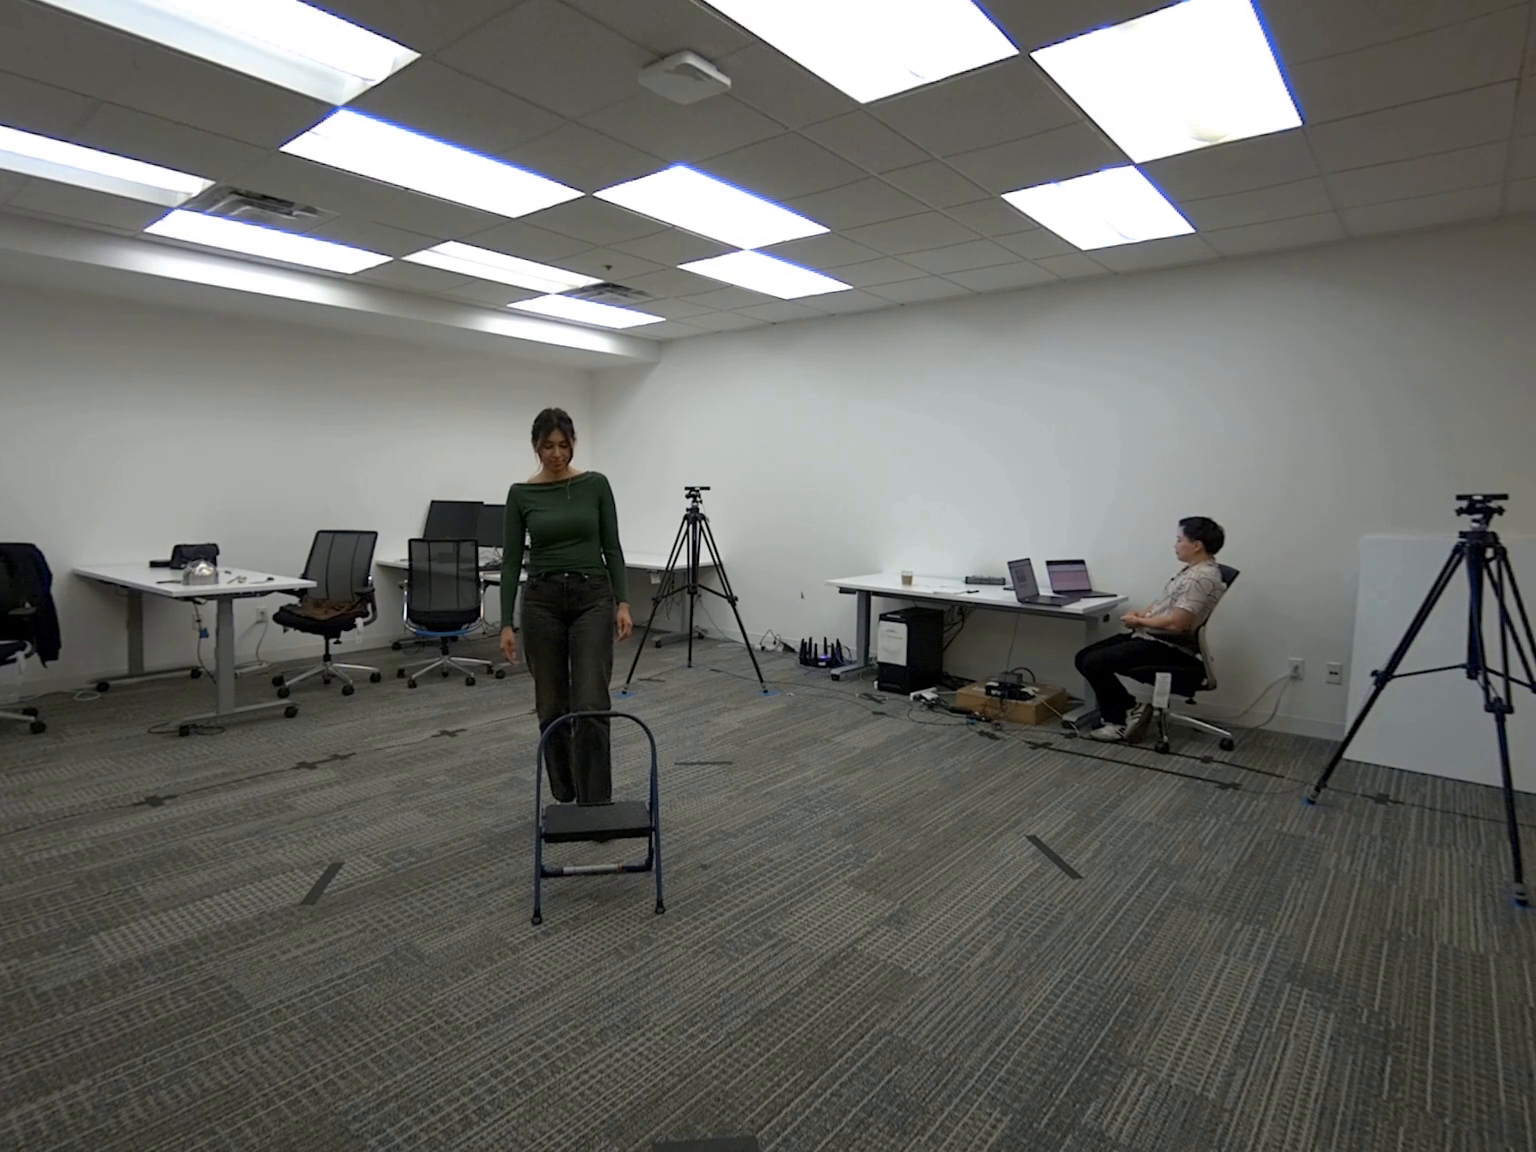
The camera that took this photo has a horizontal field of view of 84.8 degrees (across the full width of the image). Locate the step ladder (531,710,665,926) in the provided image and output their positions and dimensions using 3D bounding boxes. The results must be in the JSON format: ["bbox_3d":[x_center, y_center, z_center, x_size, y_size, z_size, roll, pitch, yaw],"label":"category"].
[{"bbox_3d":[-0.585,0.781,2.892,0.425,0.604,0.355,0,3,-12],"label":"step ladder"}]
